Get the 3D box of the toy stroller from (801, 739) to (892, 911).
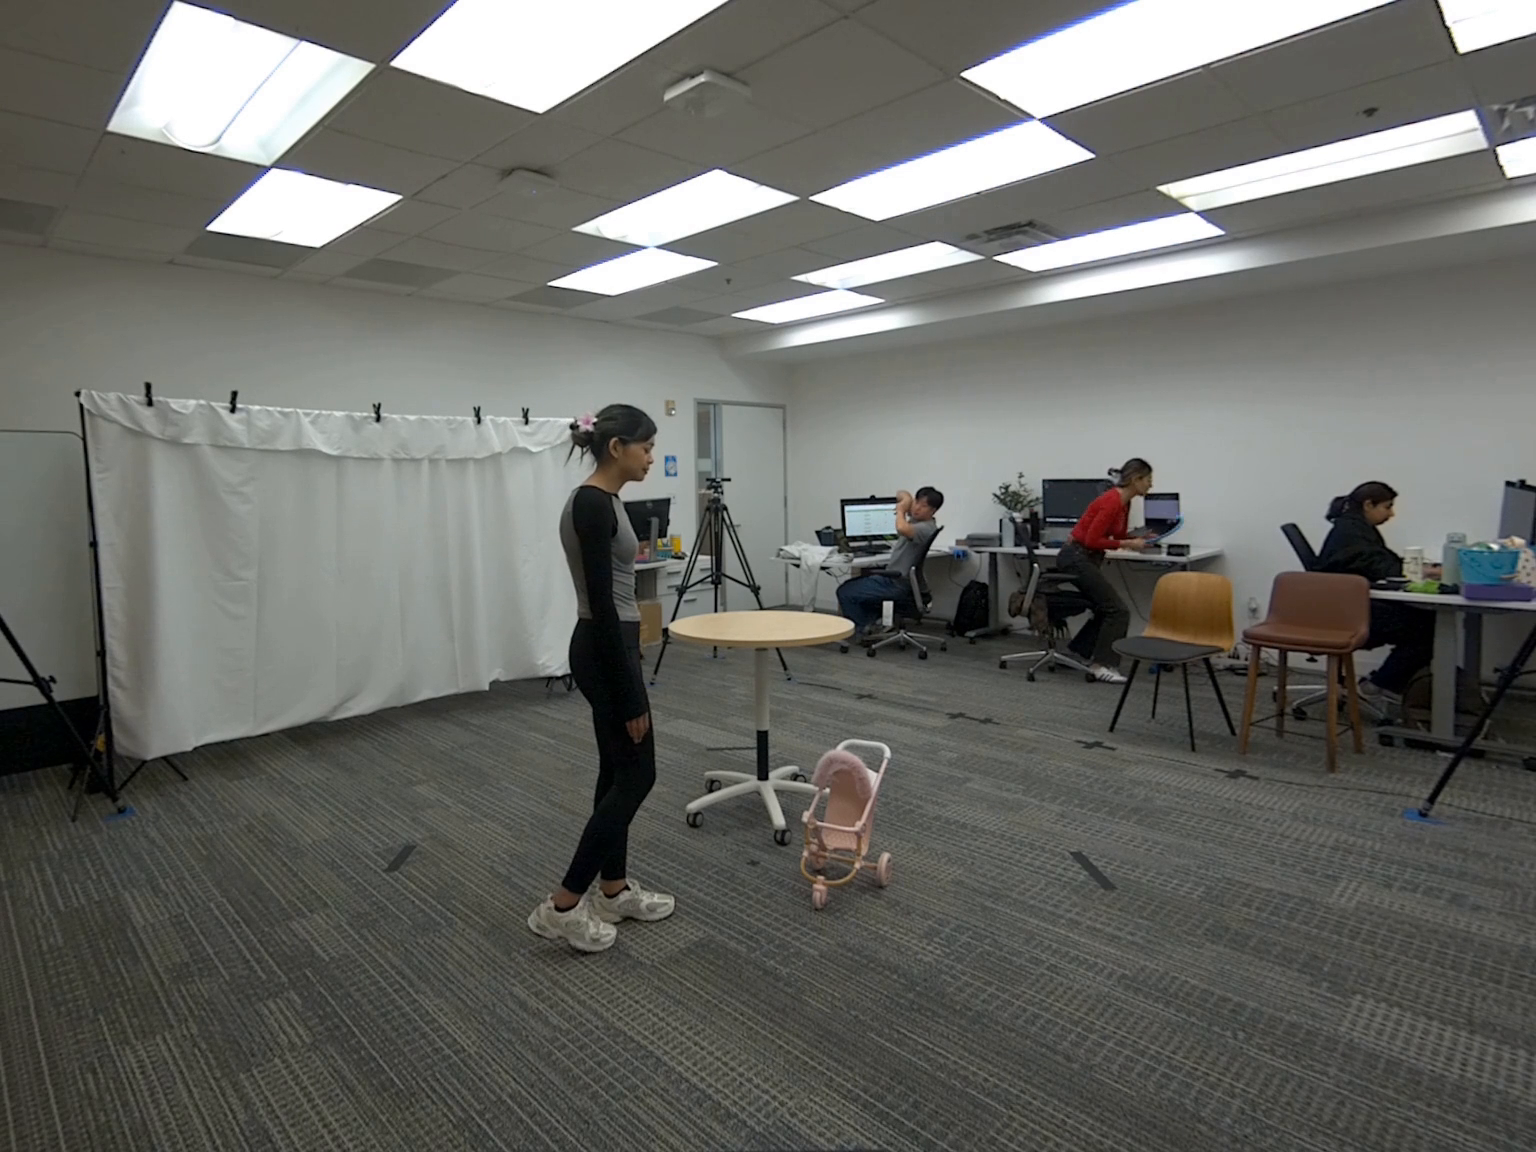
[{"bbox_3d":[0.253,0.832,2.916,0.289,0.539,0.329,0,-11,34],"label":"toy stroller"}]
